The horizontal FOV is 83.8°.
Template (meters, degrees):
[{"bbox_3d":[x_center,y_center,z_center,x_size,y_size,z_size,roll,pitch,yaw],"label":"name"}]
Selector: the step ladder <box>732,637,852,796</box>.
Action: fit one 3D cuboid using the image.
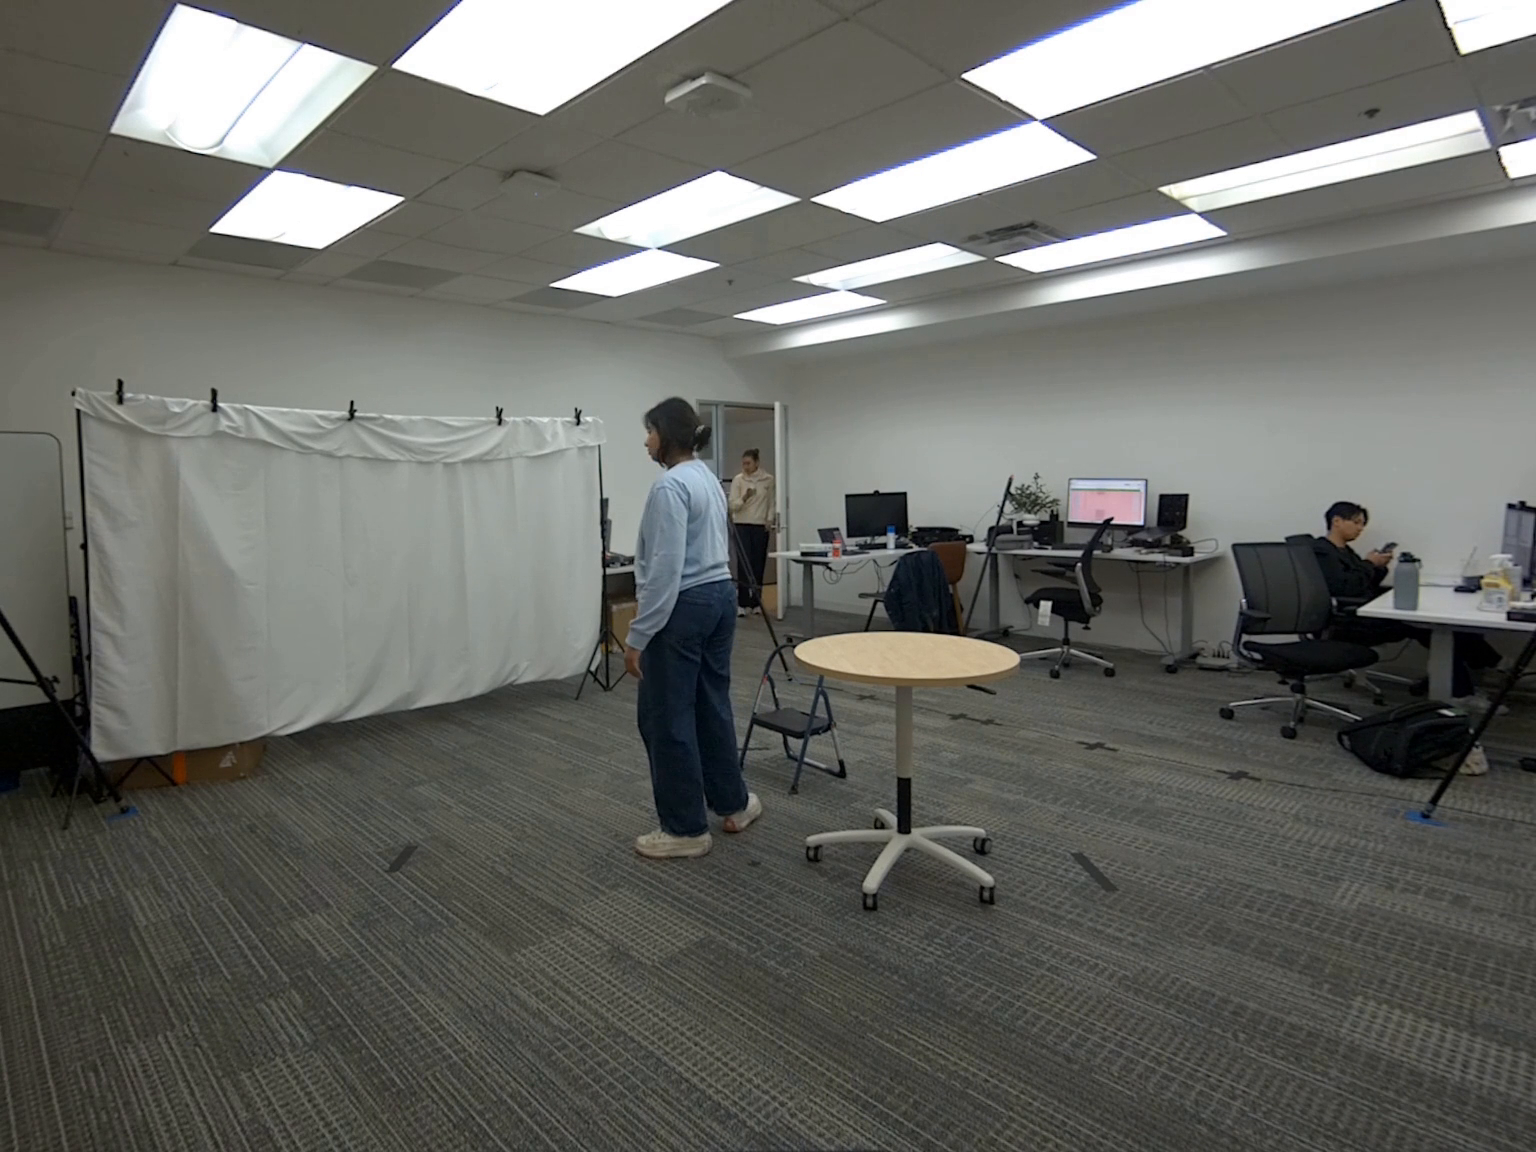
[{"bbox_3d":[0.107,0.637,4.035,0.340,0.604,0.443,-3,4,-38],"label":"step ladder"}]
